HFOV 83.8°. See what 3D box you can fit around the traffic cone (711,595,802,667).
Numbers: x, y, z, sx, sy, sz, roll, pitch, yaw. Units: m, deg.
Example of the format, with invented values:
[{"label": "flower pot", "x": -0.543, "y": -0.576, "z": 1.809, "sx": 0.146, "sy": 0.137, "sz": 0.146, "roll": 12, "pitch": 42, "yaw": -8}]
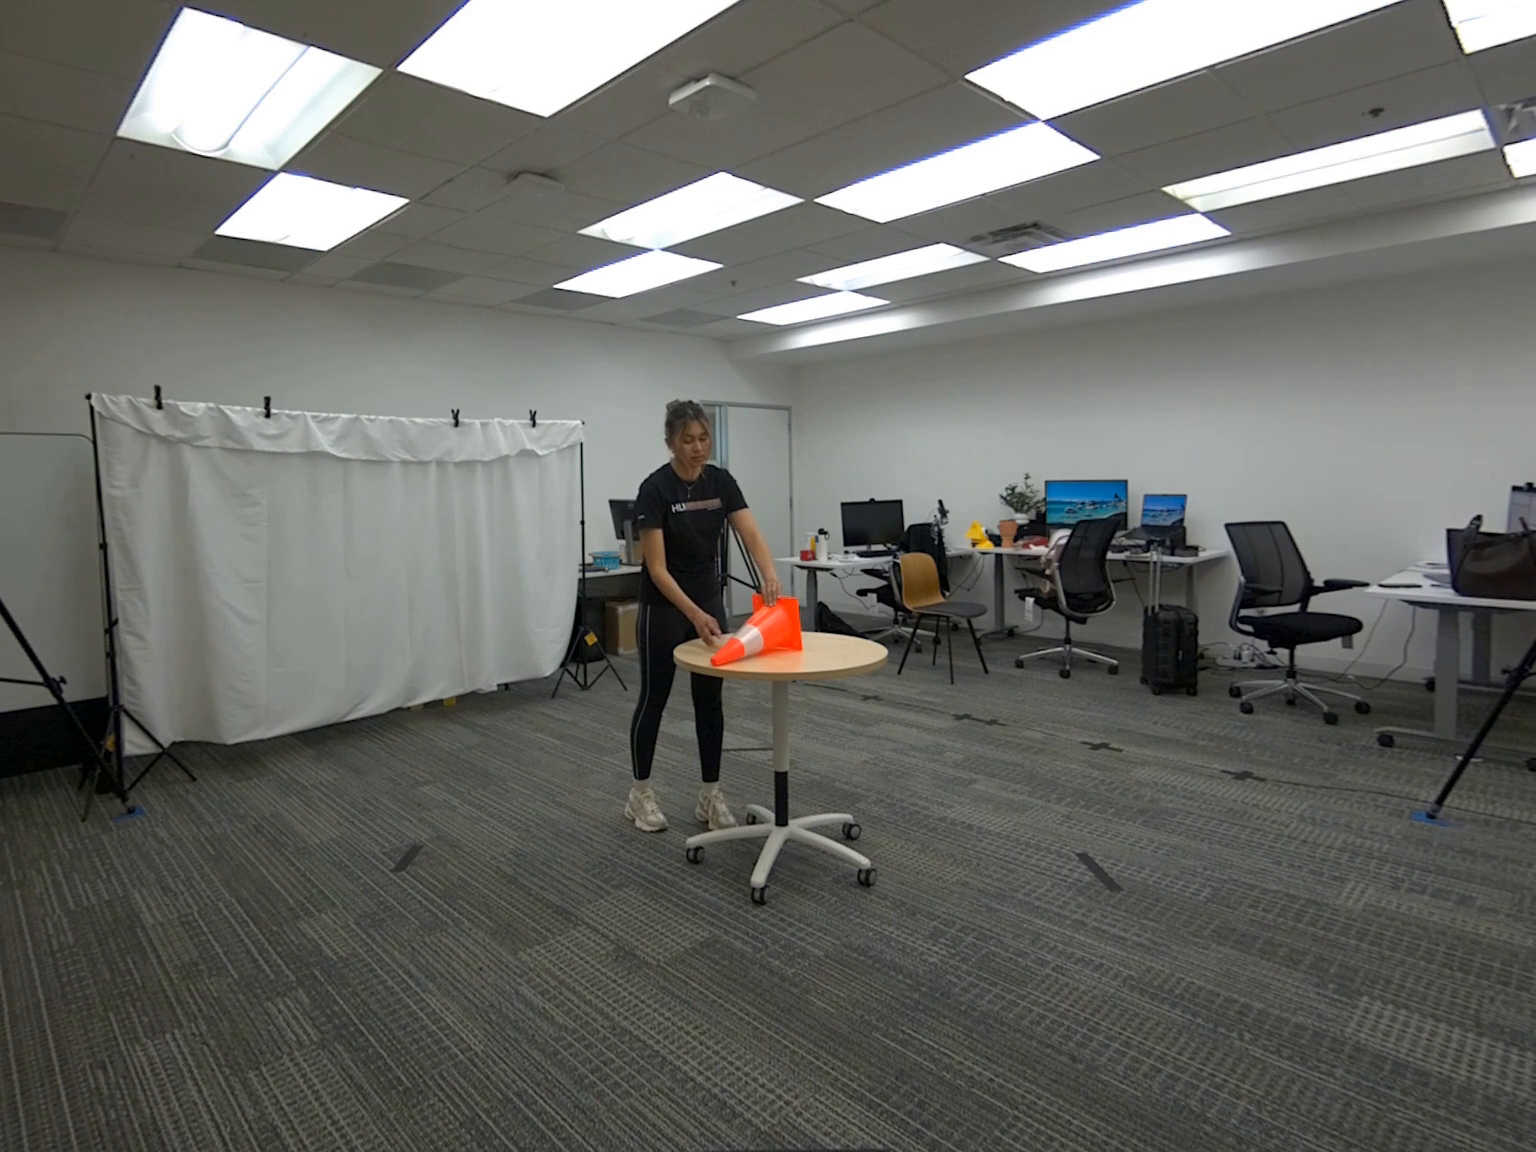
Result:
[{"label": "traffic cone", "x": -0.066, "y": 0.222, "z": 2.937, "sx": 0.210, "sy": 0.201, "sz": 0.379, "roll": -1, "pitch": 16, "yaw": 34}]
